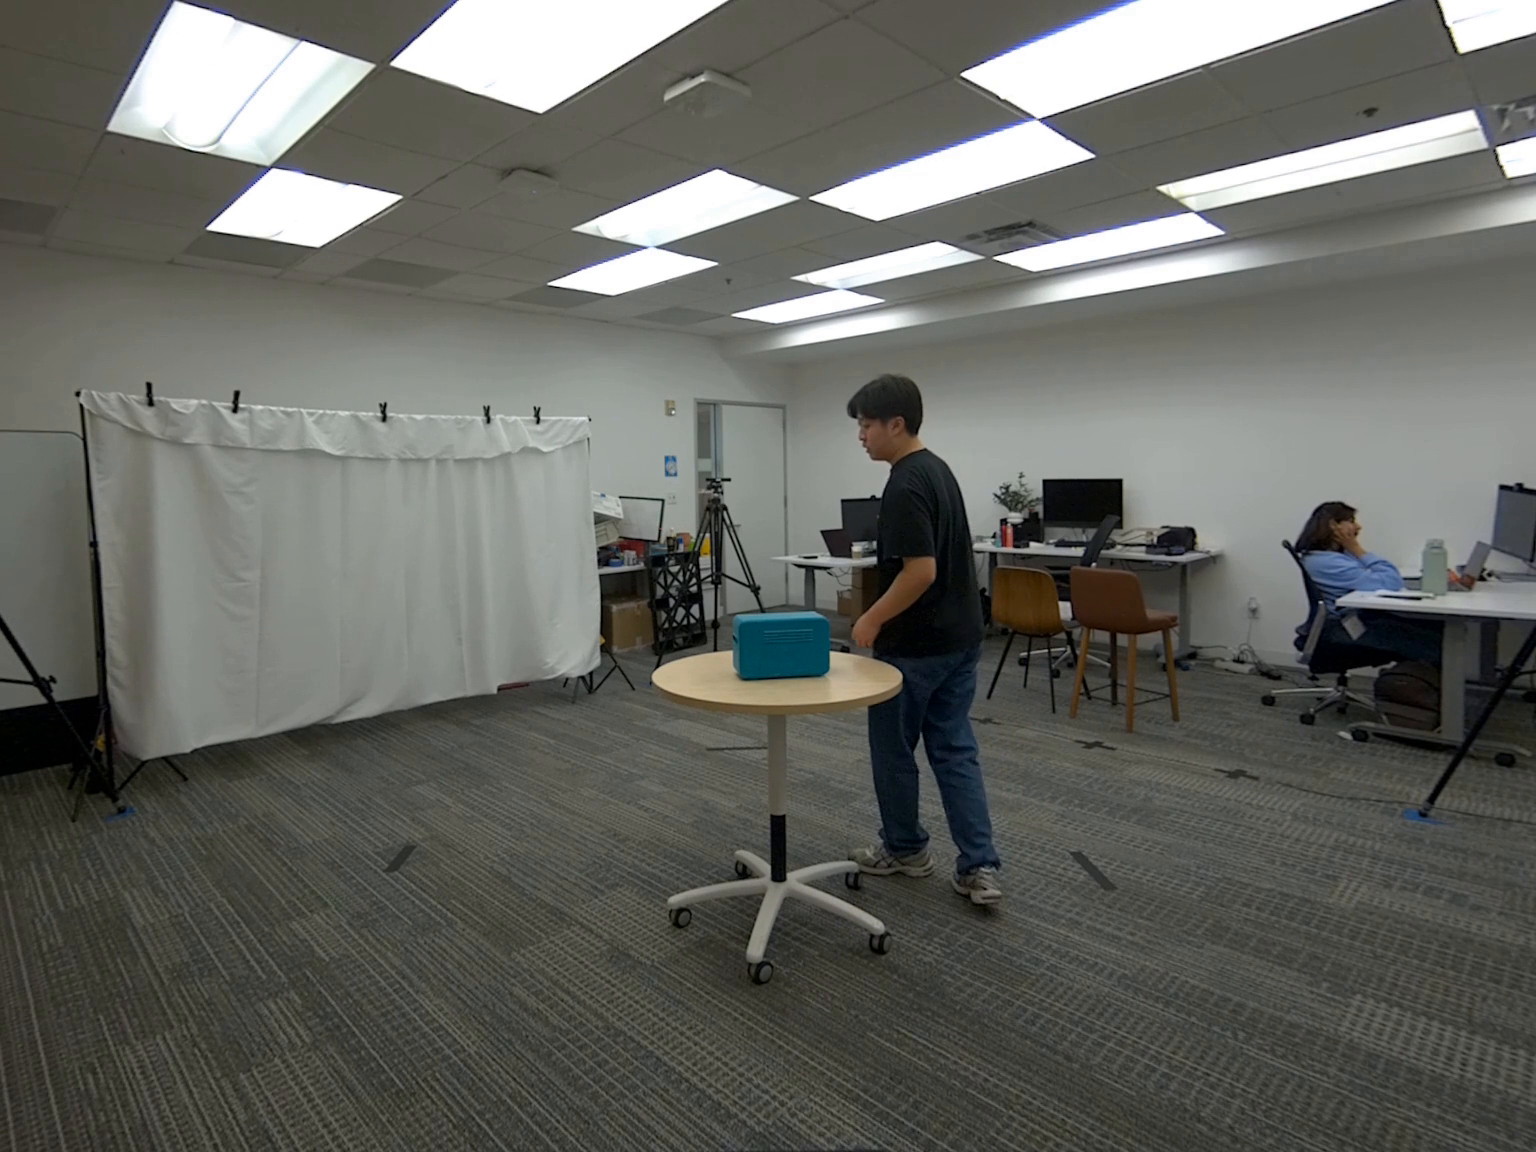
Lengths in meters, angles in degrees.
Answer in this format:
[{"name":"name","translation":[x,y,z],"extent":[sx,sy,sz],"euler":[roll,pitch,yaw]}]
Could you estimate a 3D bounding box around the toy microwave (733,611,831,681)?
[{"name":"toy microwave","translation":[0.040,0.207,2.616],"extent":[0.284,0.183,0.154],"euler":[-1,4,-7]}]
